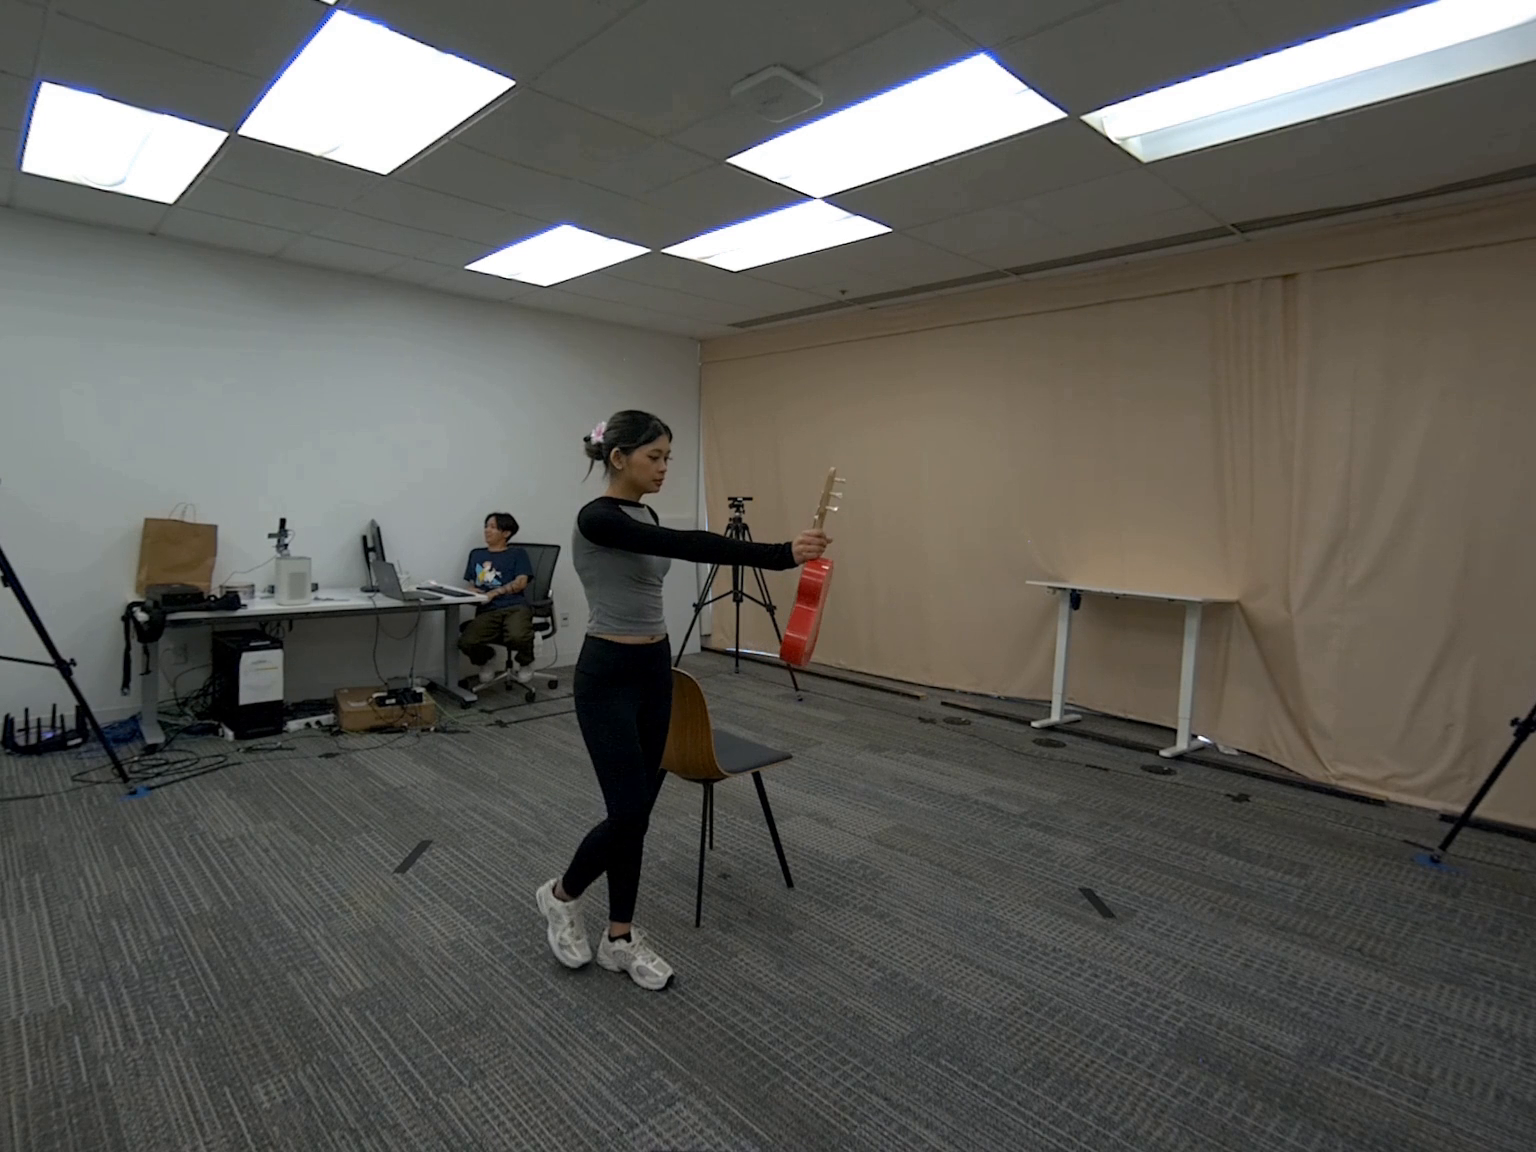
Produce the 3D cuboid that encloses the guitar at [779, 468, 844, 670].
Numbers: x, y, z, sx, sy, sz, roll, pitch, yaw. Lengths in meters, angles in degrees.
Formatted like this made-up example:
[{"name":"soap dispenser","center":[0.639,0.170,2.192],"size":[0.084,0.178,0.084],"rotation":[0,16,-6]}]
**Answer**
[{"name":"guitar","center":[0.109,-0.012,2.084],"size":[0.071,0.494,0.192],"rotation":[16,13,12]}]
